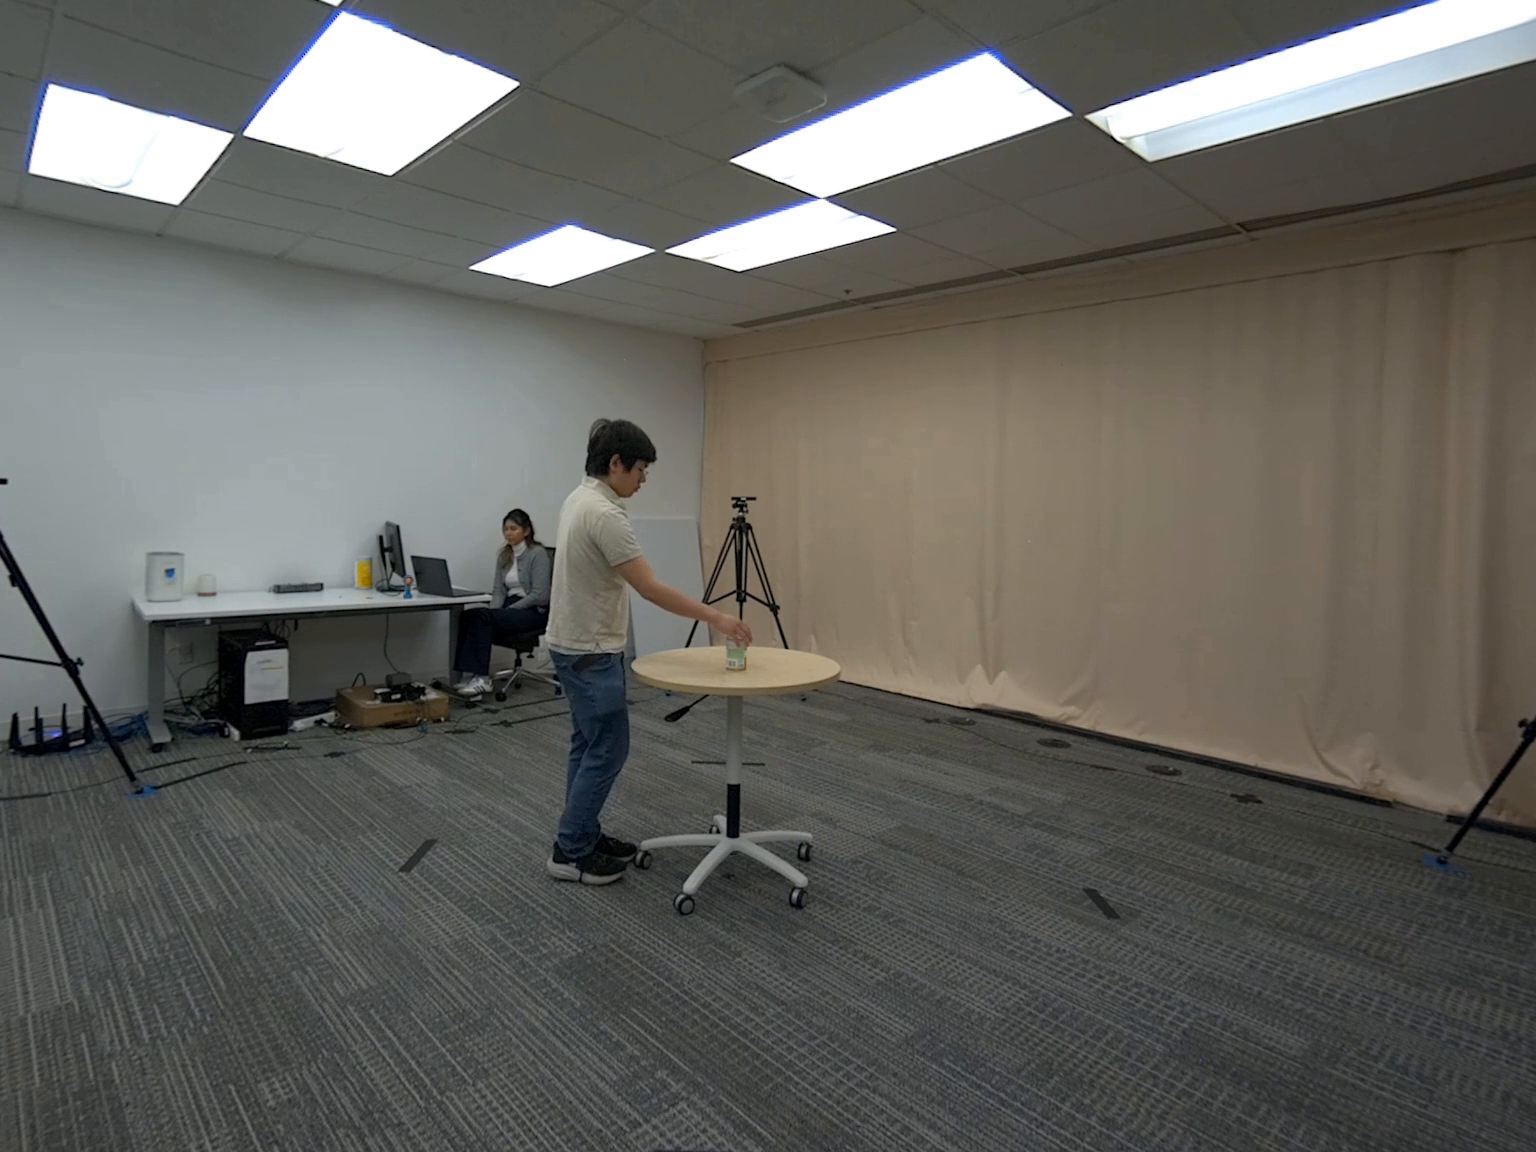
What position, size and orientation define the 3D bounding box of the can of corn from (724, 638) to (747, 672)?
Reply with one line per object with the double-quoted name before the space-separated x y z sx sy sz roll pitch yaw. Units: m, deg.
"can of corn" -0.123 0.281 3.000 0.074 0.110 0.074 -3 5 -1
